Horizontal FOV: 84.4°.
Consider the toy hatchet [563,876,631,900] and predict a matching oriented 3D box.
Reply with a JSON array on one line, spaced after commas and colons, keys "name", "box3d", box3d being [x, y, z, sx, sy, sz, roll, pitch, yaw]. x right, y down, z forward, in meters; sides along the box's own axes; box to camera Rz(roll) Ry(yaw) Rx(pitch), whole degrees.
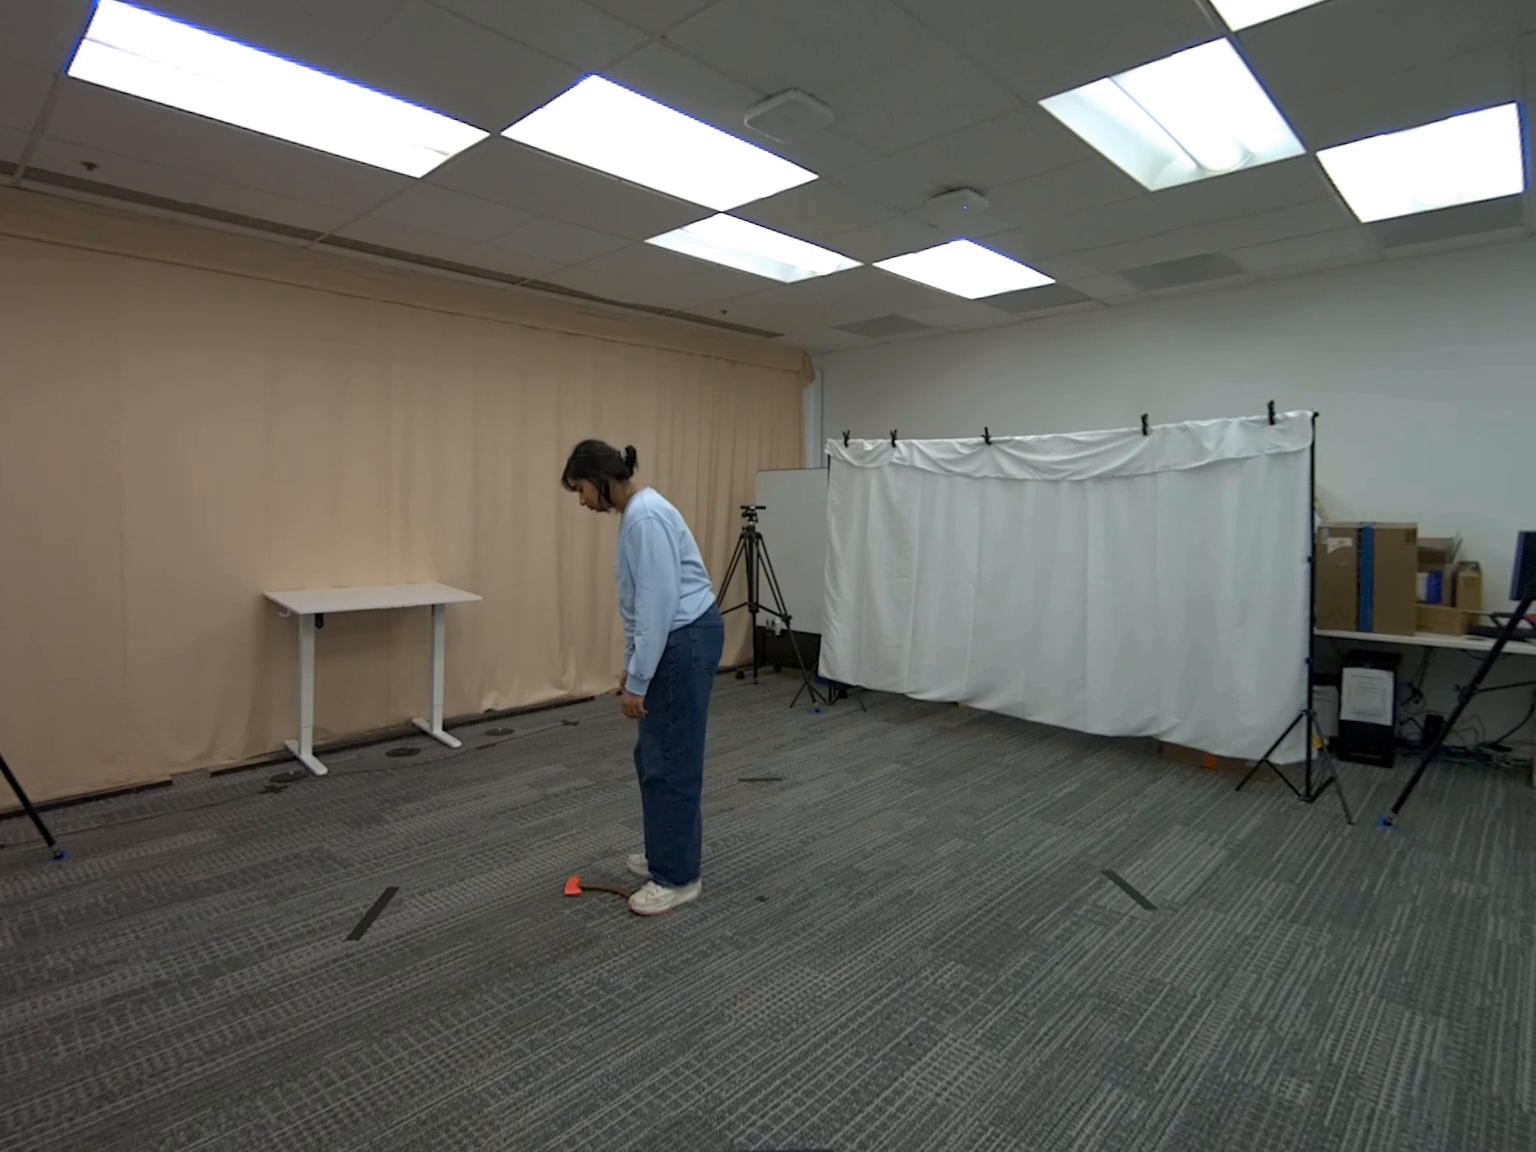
[{"name": "toy hatchet", "box3d": [-0.620, 1.134, 3.028, 0.278, 0.029, 0.127, 4, 5, 29]}]
